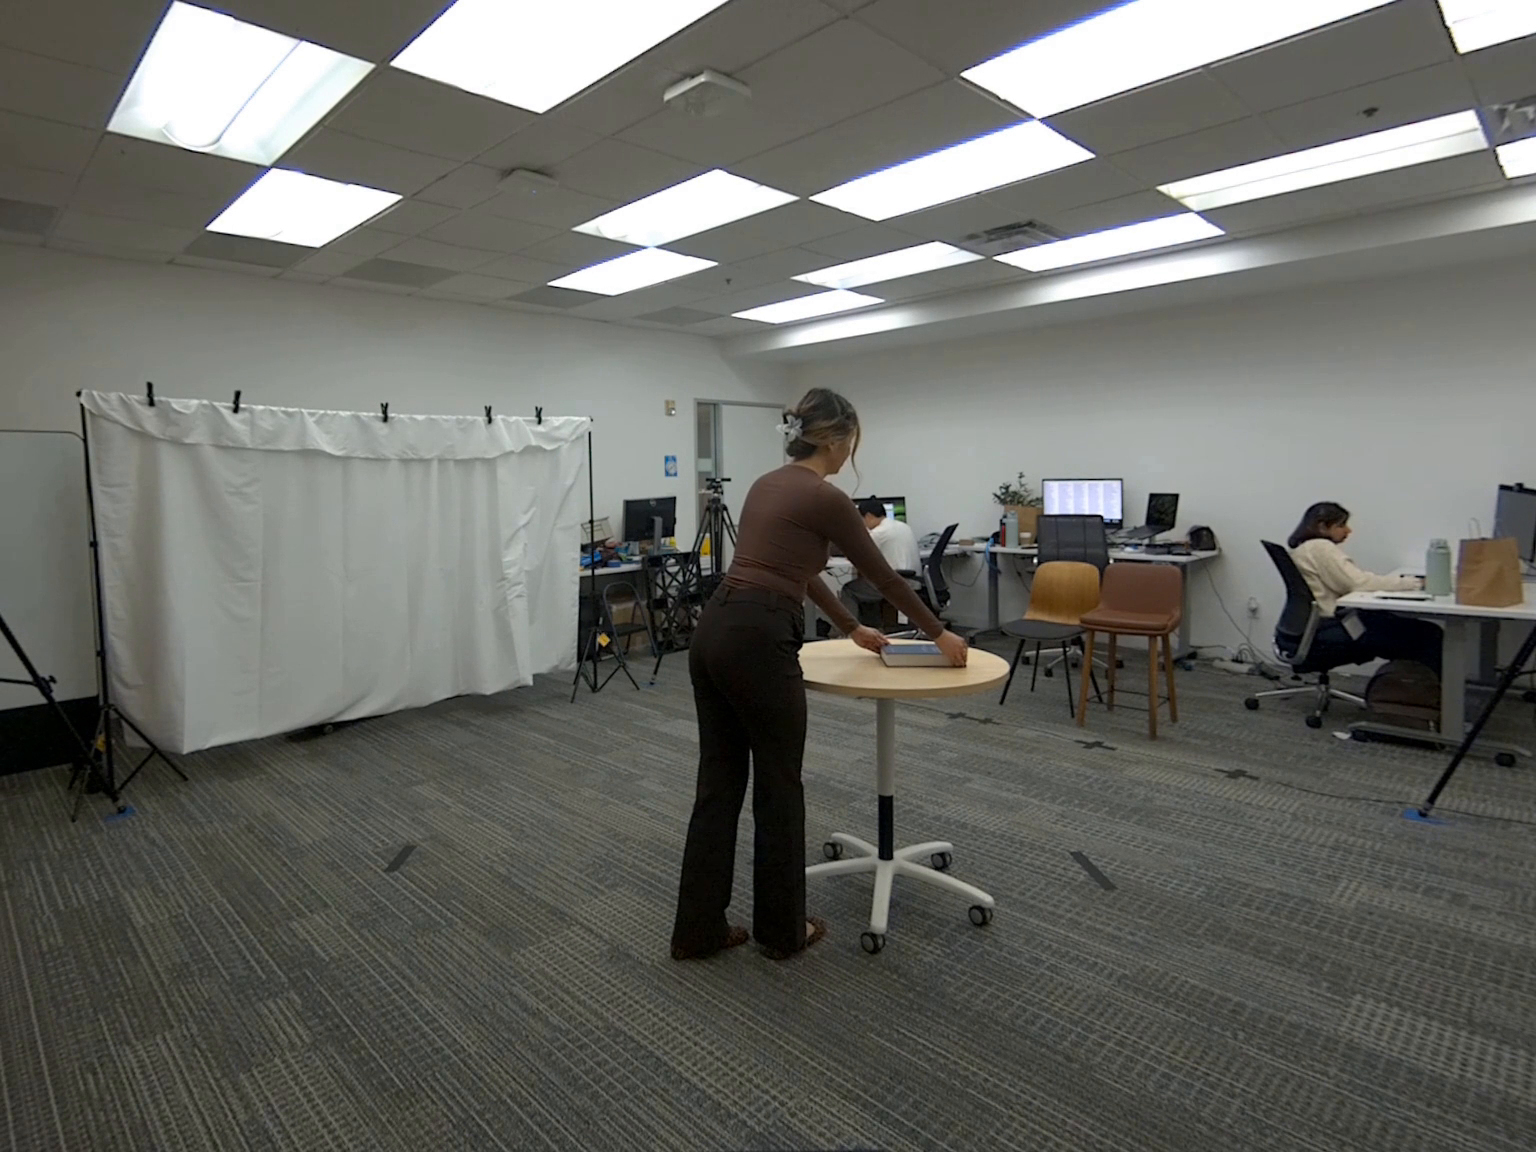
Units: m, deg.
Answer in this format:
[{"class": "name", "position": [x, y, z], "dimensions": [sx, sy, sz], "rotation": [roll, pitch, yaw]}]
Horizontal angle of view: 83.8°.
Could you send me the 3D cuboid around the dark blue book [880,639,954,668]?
[{"class": "dark blue book", "position": [0.513, 0.260, 2.746], "dimensions": [0.246, 0.045, 0.164], "rotation": [-1, 6, 2]}]
